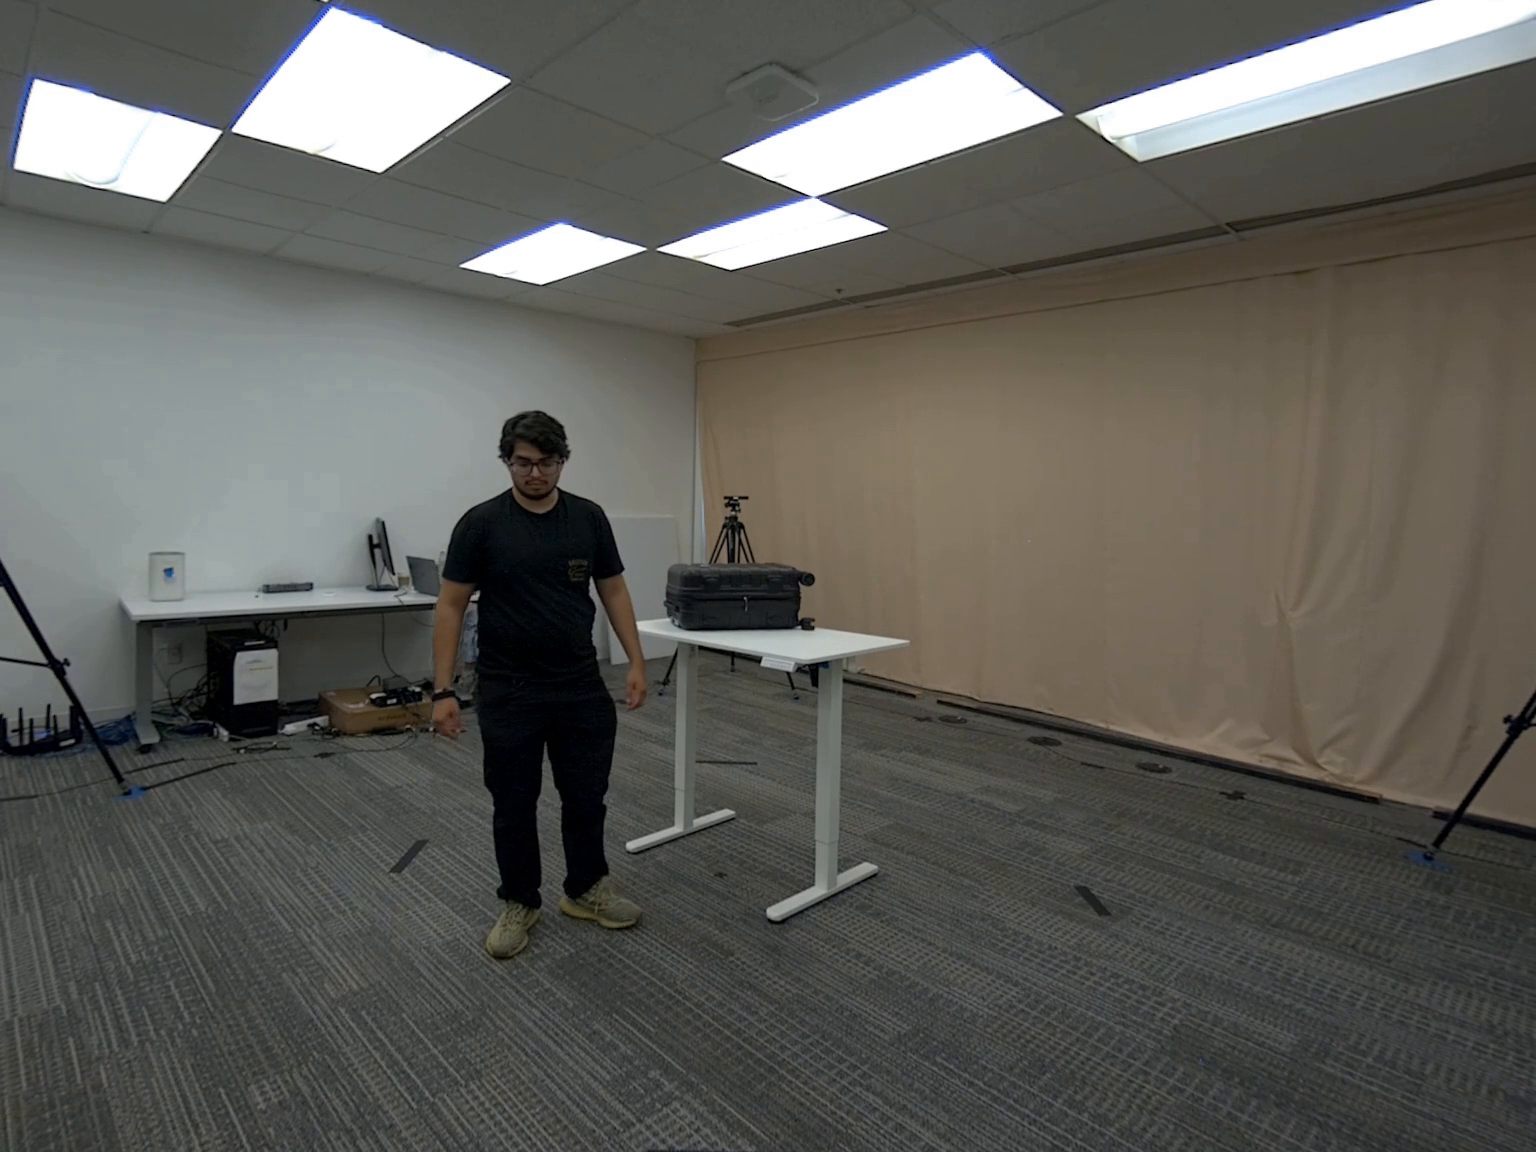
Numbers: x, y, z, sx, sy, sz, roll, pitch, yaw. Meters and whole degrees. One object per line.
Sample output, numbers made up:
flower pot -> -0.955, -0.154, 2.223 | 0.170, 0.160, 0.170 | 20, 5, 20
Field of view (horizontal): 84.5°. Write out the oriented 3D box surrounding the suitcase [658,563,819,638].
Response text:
suitcase -> -0.130, 0.084, 3.380 | 0.542, 0.248, 0.381 | 0, 4, -17
